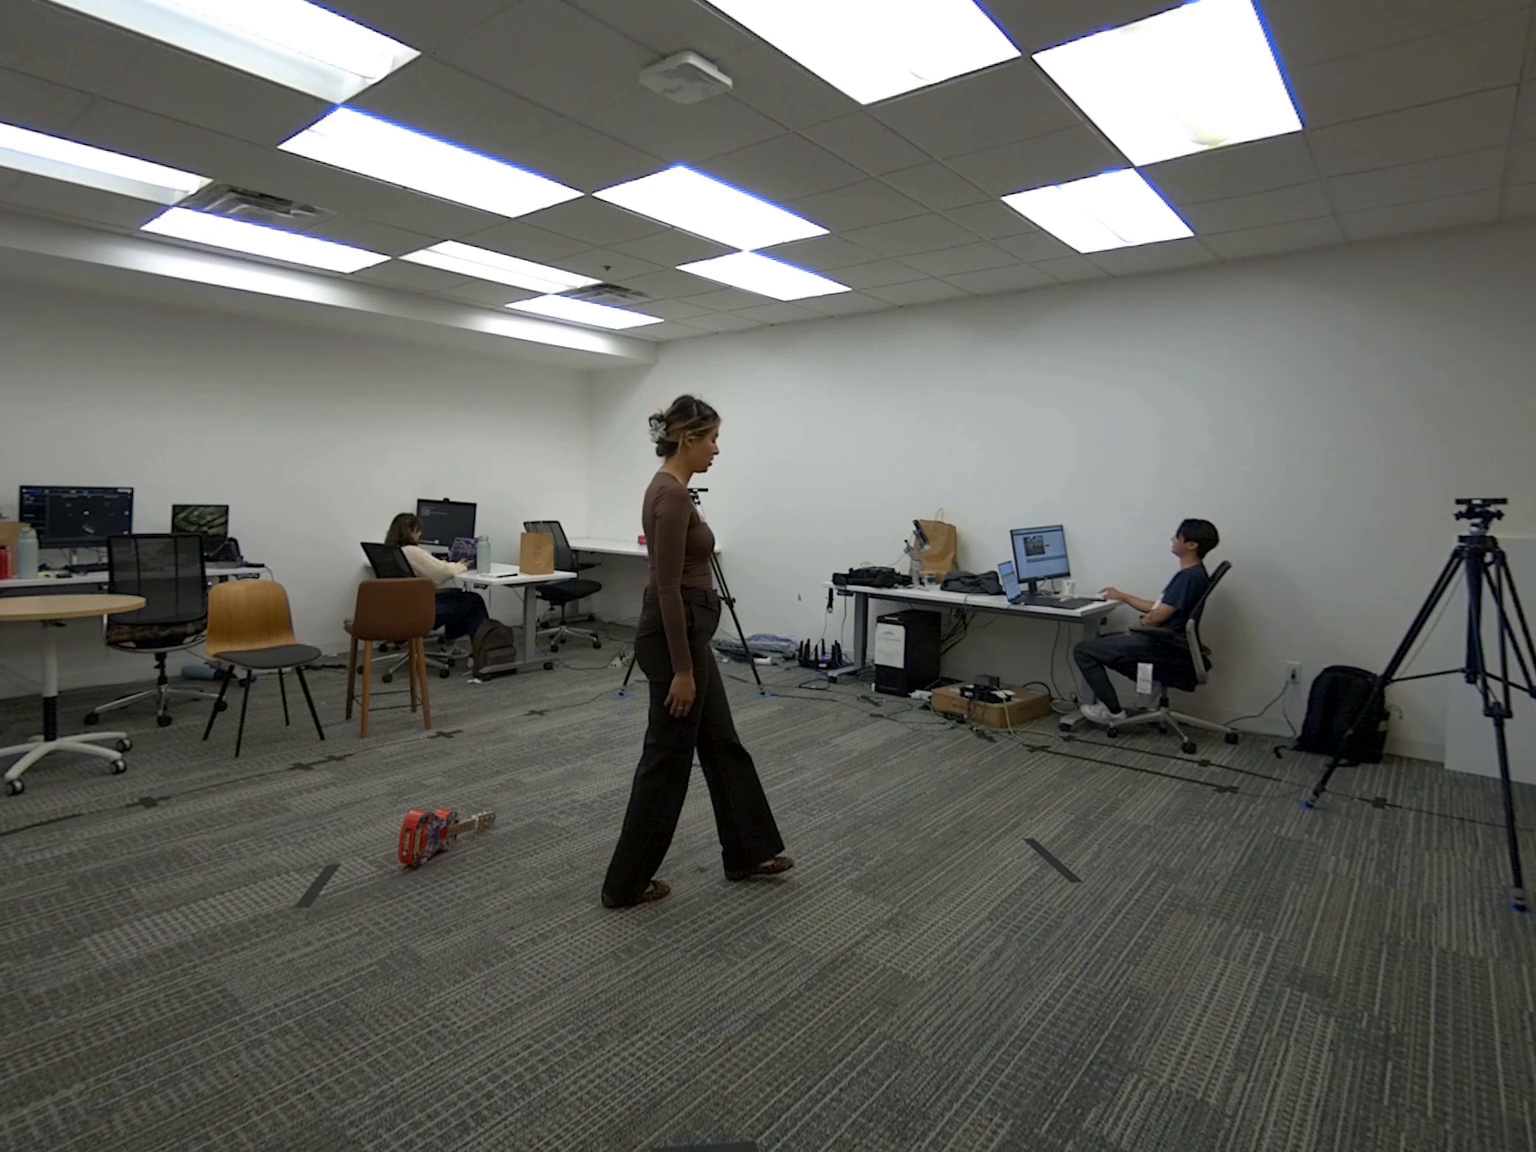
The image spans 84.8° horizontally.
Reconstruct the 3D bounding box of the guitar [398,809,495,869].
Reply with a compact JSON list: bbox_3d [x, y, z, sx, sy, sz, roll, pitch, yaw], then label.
[{"bbox_3d":[-1.239,1.000,3.268,0.072,0.195,0.482,3,-13,18],"label":"guitar"}]
